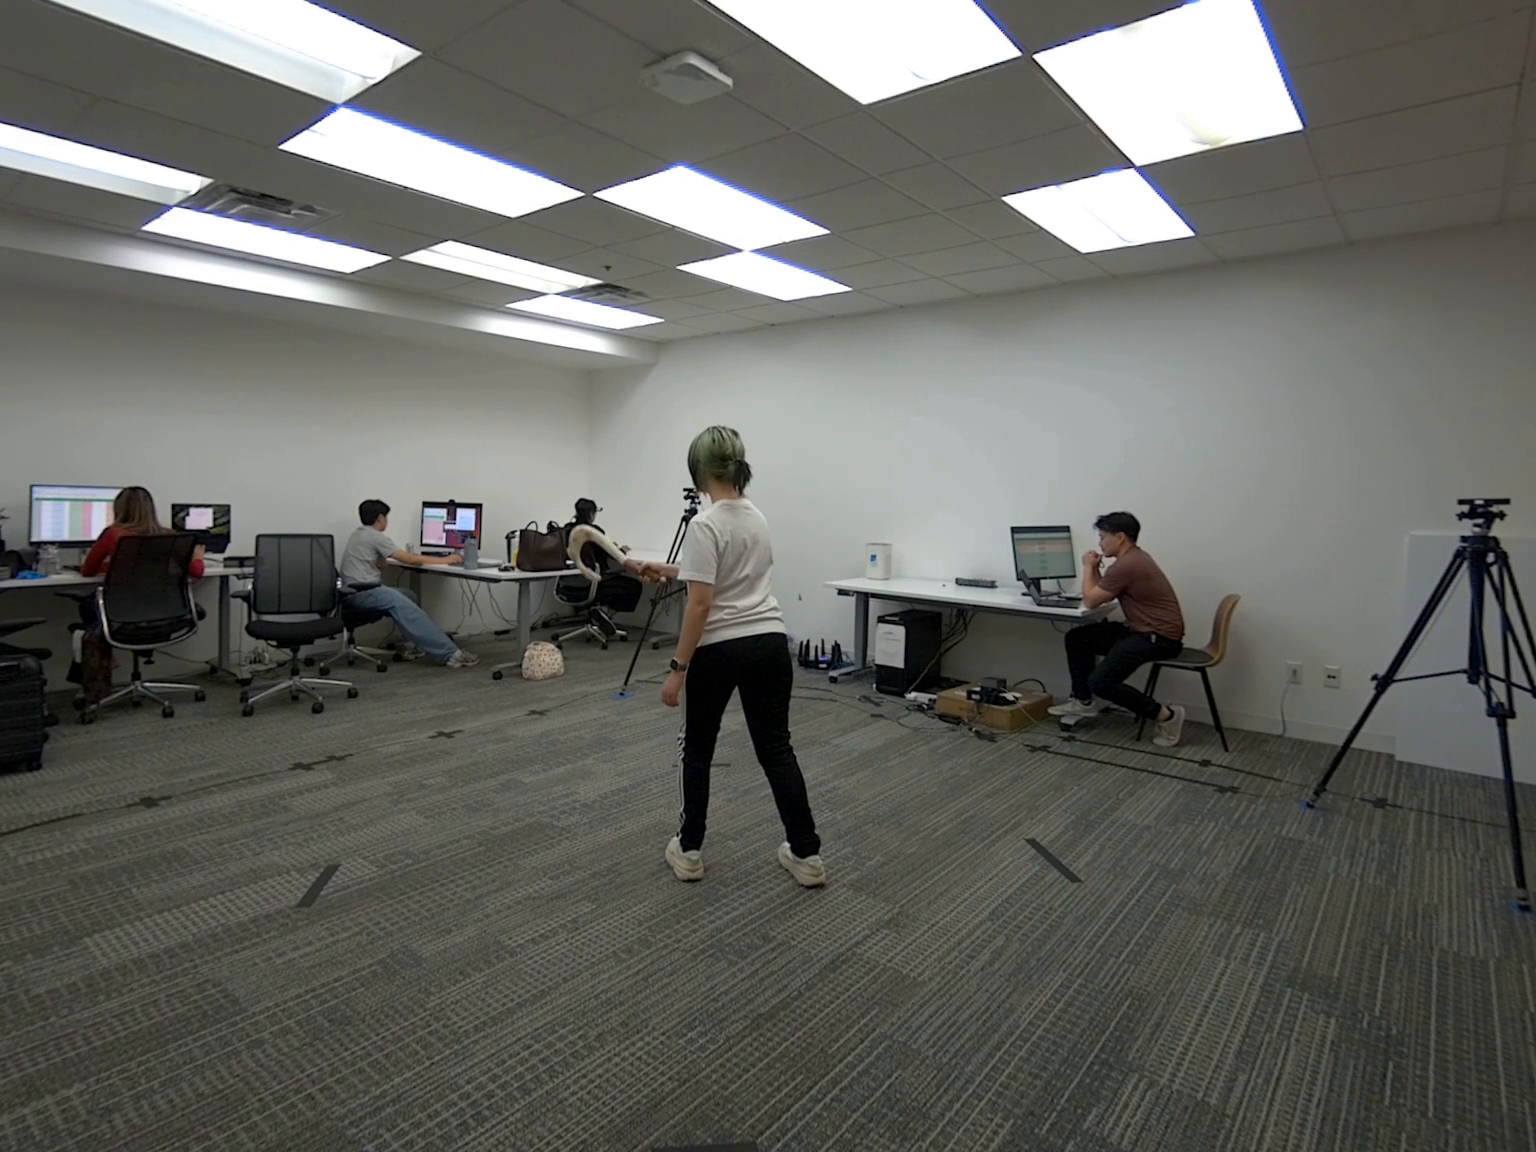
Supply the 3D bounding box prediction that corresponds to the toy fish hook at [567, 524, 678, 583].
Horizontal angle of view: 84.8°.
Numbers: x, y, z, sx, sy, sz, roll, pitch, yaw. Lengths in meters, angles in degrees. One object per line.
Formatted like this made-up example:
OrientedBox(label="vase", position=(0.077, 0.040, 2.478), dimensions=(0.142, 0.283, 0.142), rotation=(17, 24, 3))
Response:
OrientedBox(label="toy fish hook", position=(-0.635, -0.037, 3.520), dimensions=(0.523, 0.221, 0.047), rotation=(29, 30, 25))
